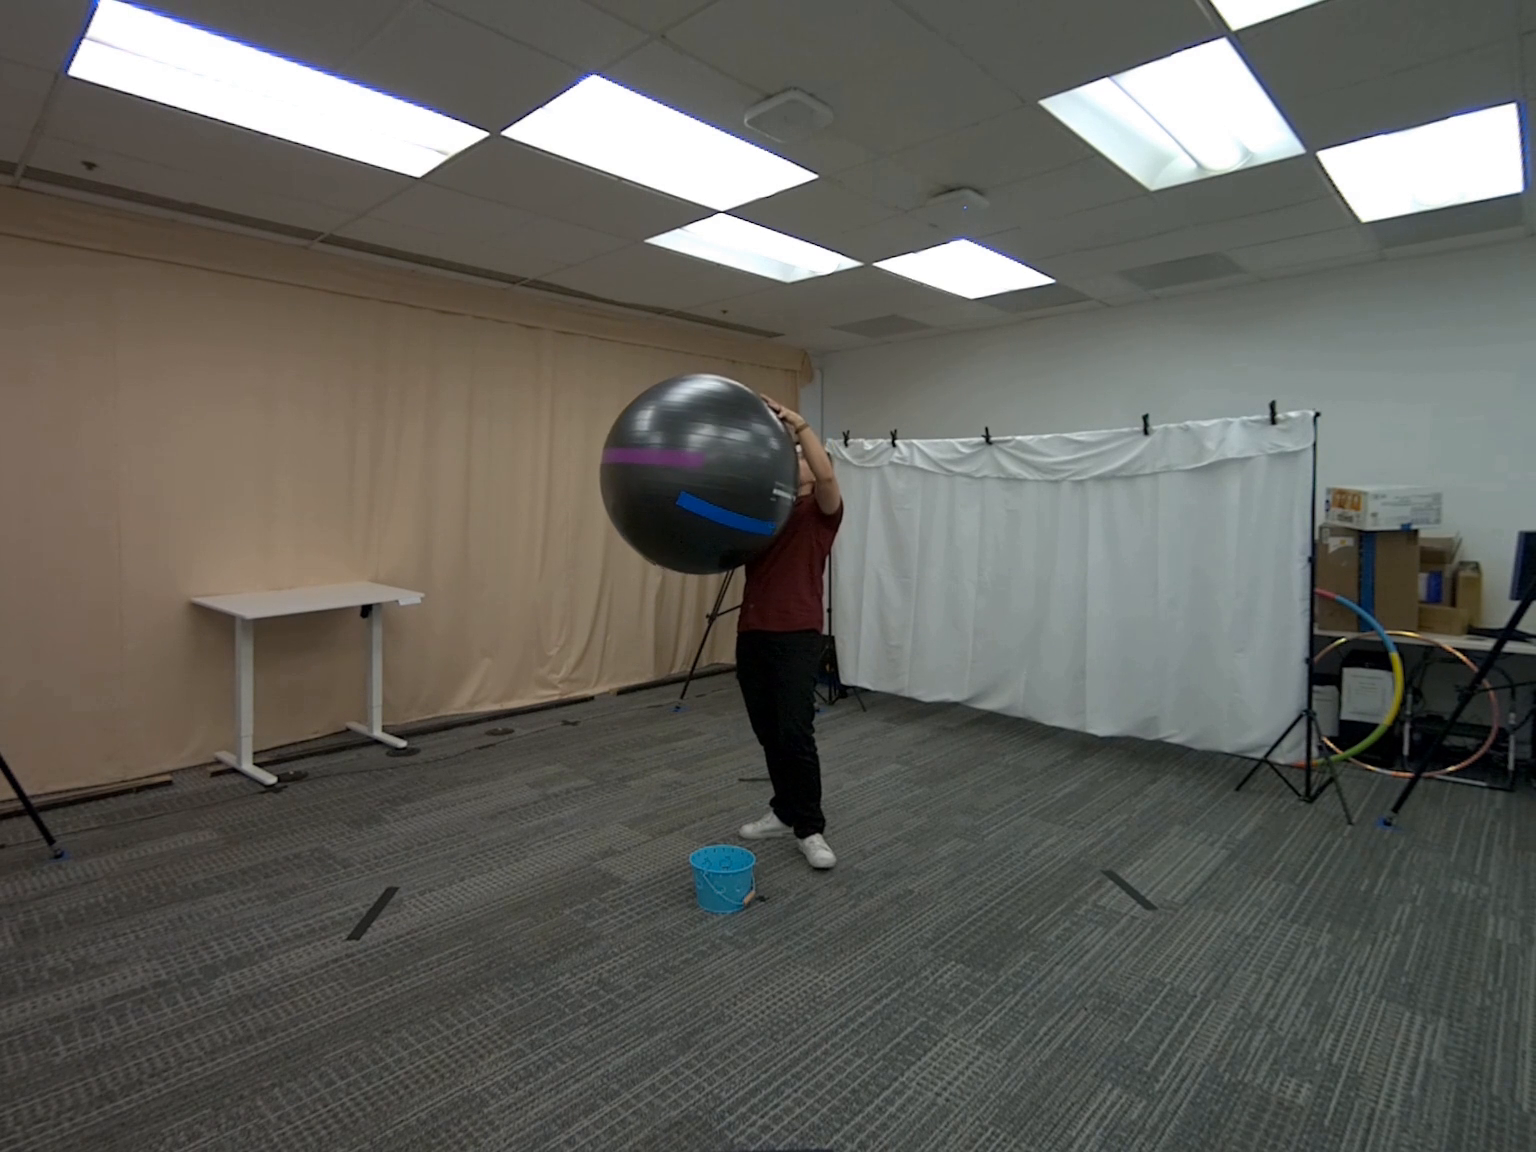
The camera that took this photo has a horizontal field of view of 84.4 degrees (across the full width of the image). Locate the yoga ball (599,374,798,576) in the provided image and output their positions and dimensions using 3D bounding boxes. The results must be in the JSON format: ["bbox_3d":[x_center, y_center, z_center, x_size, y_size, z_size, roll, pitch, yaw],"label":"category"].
[{"bbox_3d":[-0.264,-0.386,3.214,0.757,0.756,0.760,0,4,-2],"label":"yoga ball"}]
